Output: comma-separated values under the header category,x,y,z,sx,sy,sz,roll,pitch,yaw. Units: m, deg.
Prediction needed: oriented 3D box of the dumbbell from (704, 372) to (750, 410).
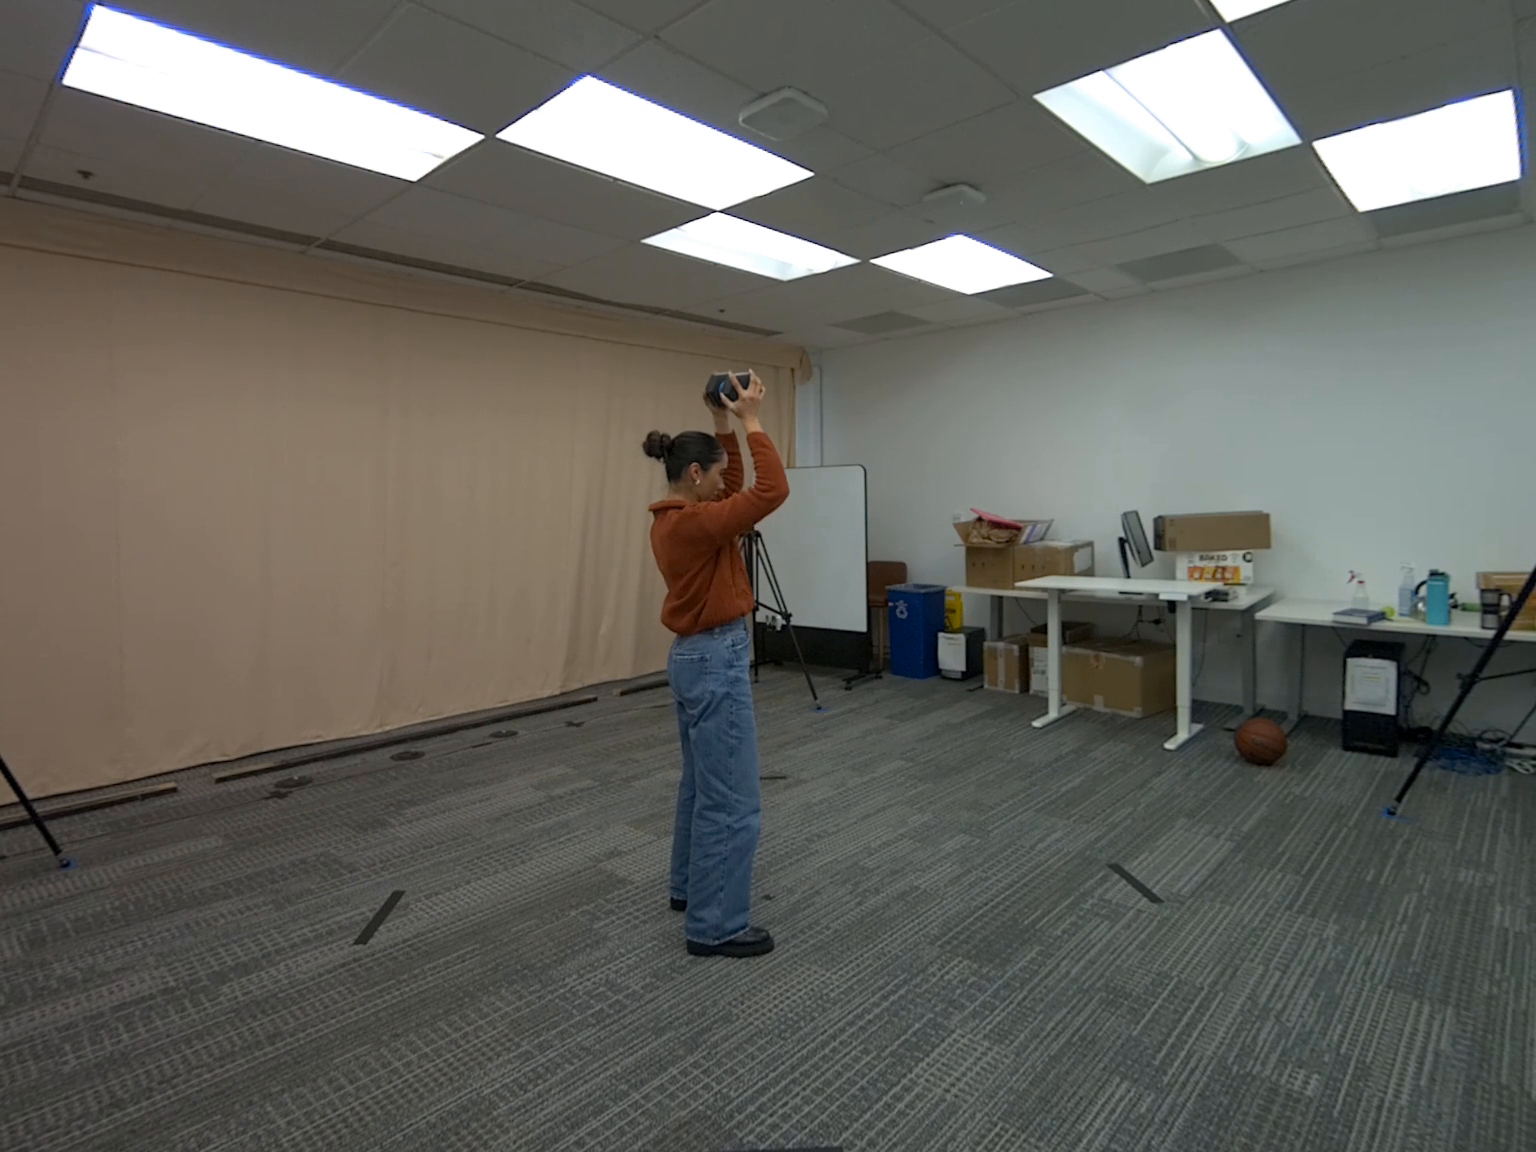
category,x,y,z,sx,sy,sz,roll,pitch,yaw
dumbbell,-0.107,-0.590,2.700,0.108,0.120,0.300,-40,20,-6
